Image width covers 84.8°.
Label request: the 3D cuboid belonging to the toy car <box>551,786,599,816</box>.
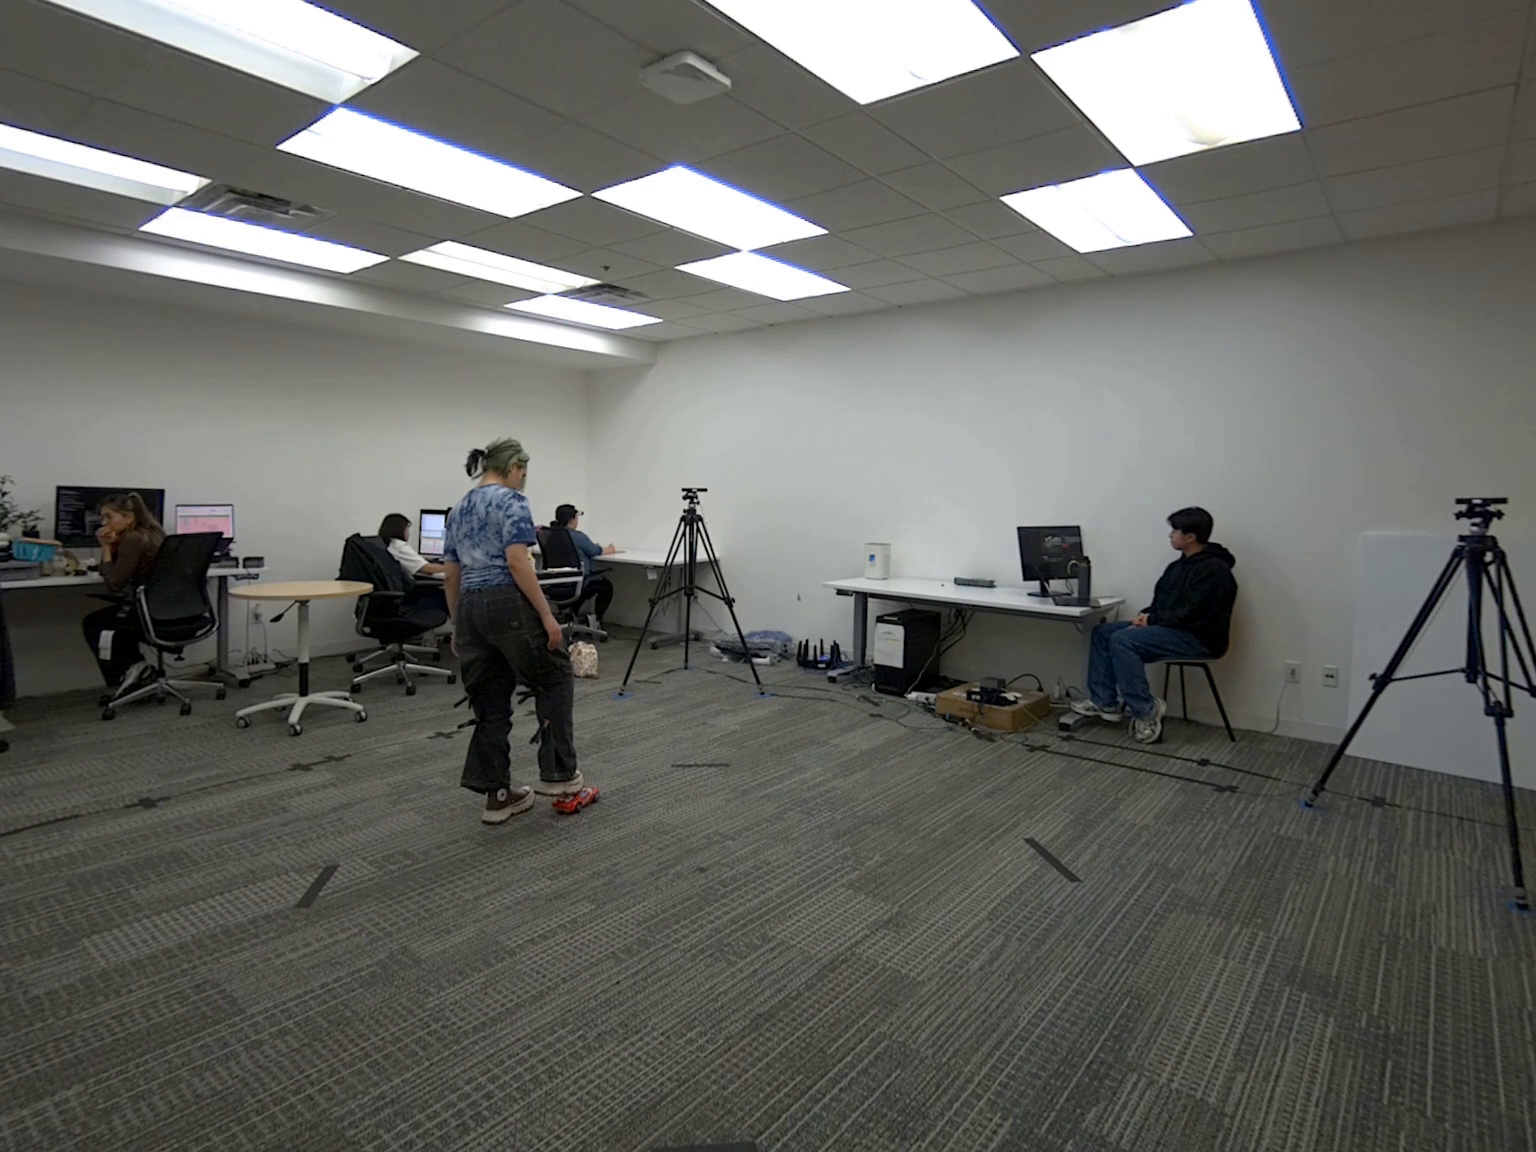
[{"bbox_3d":[-0.862,0.975,3.702,0.134,0.083,0.247,3,-4,24],"label":"toy car"}]
